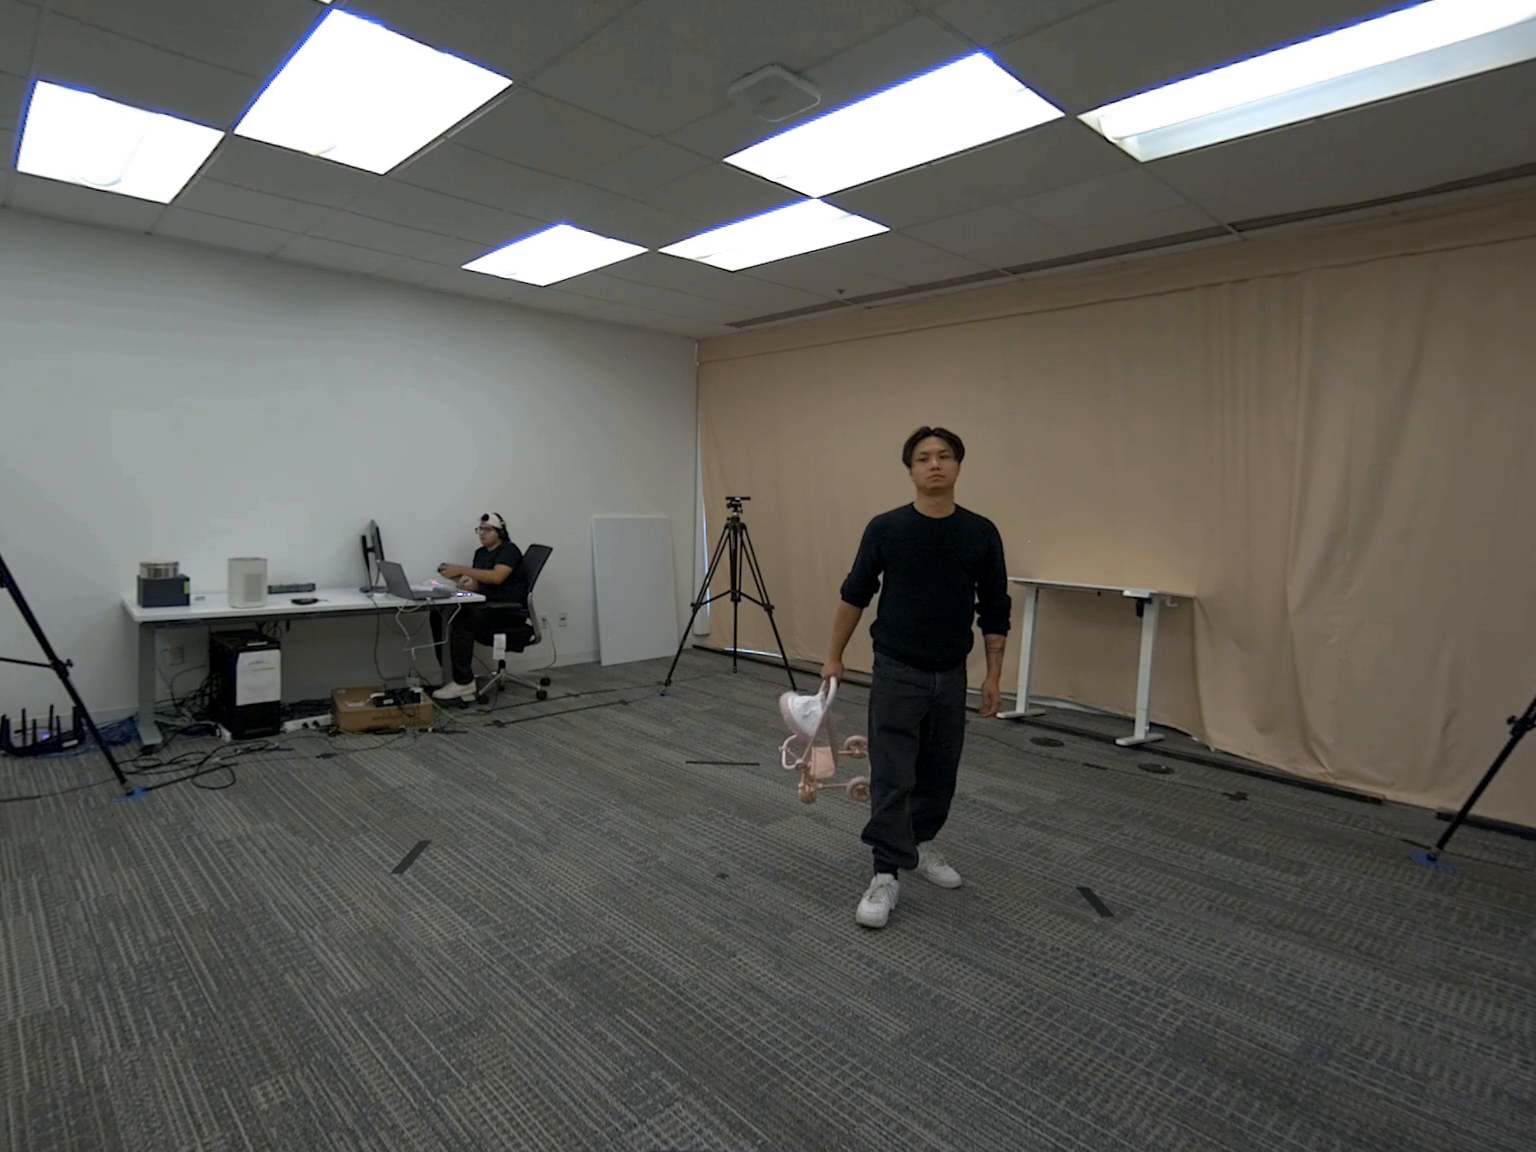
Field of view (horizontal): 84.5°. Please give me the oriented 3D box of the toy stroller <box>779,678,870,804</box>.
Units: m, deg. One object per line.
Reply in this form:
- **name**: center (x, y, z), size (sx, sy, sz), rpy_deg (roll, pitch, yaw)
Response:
- **toy stroller**: center (0.176, 0.639, 3.221), size (0.344, 0.524, 0.284), rpy_deg (-17, 23, 17)
